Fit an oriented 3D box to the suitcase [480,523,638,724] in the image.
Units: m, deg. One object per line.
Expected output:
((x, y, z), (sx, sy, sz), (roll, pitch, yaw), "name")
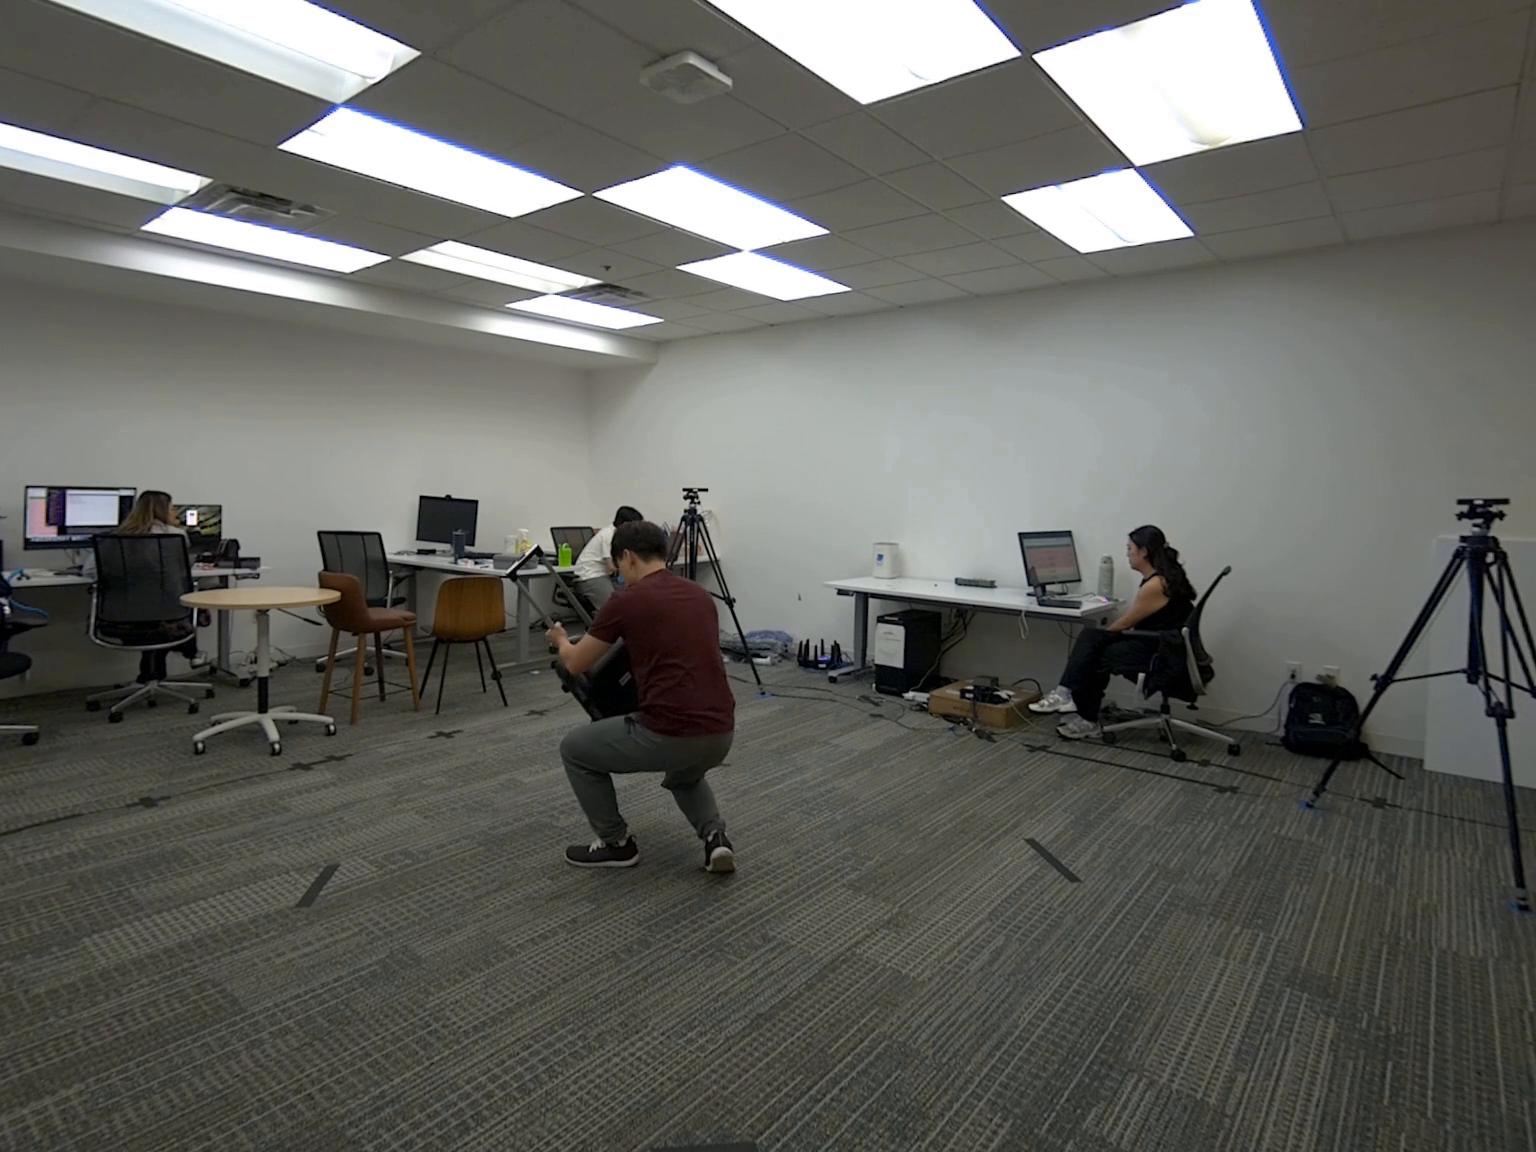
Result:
((-0.668, 0.296, 3.323), (0.267, 0.941, 0.383), (21, 58, 43), "suitcase")
